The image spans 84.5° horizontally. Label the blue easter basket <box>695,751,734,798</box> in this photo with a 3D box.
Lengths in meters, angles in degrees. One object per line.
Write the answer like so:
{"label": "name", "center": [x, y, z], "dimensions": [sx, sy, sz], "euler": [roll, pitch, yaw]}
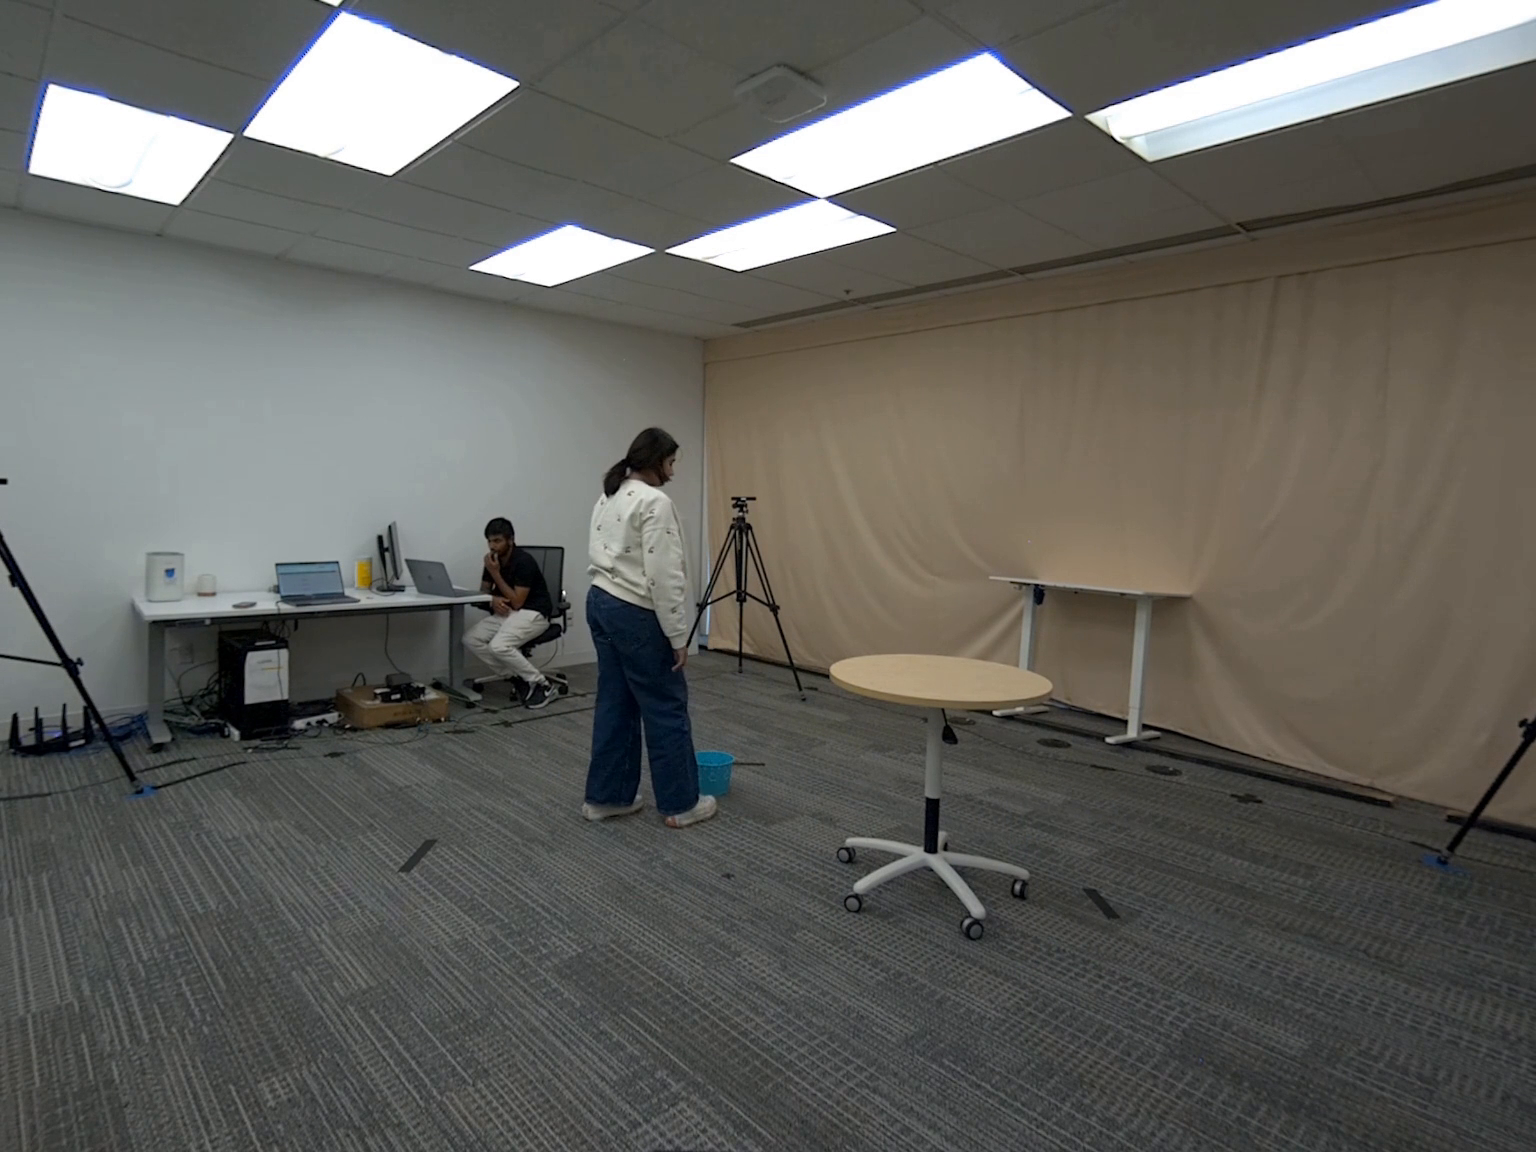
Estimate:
{"label": "blue easter basket", "center": [-0.288, 0.945, 4.044], "dimensions": [0.243, 0.155, 0.244], "euler": [2, 4, -1]}
